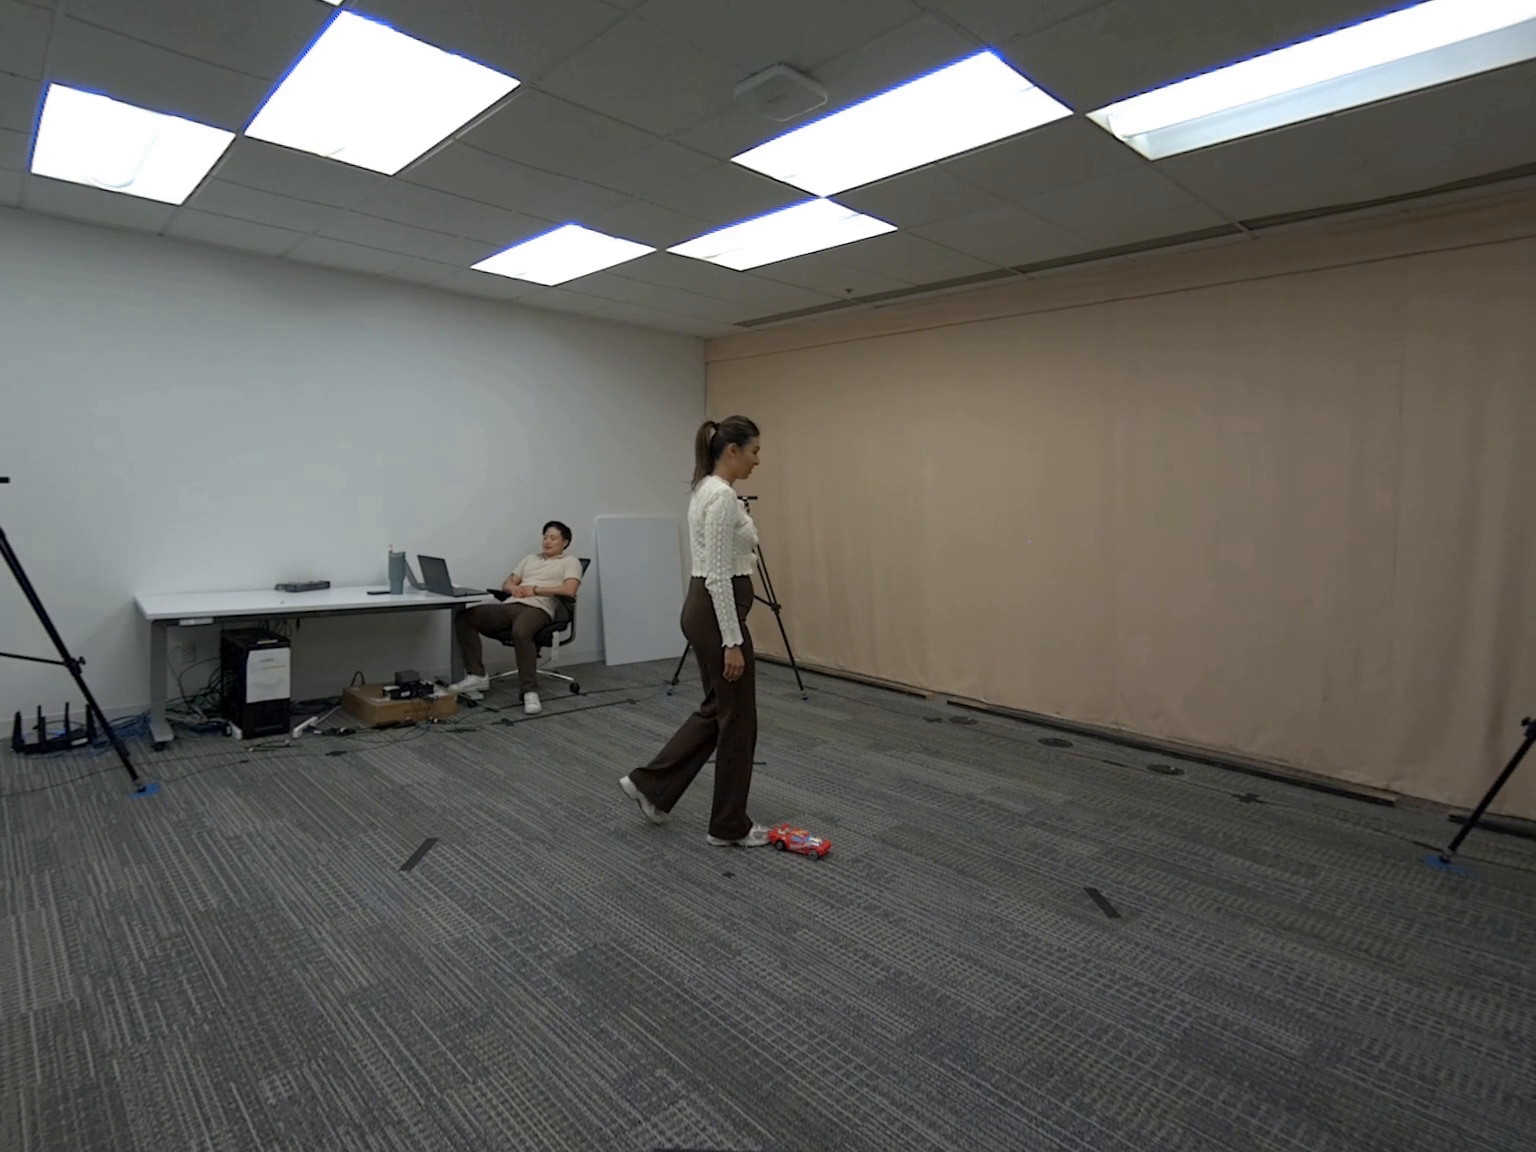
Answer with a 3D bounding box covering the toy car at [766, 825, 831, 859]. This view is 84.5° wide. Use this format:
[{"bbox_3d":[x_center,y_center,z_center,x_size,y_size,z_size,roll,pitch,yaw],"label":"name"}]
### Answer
[{"bbox_3d":[0.110,1.057,3.345,0.261,0.083,0.128,16,12,30],"label":"toy car"}]
